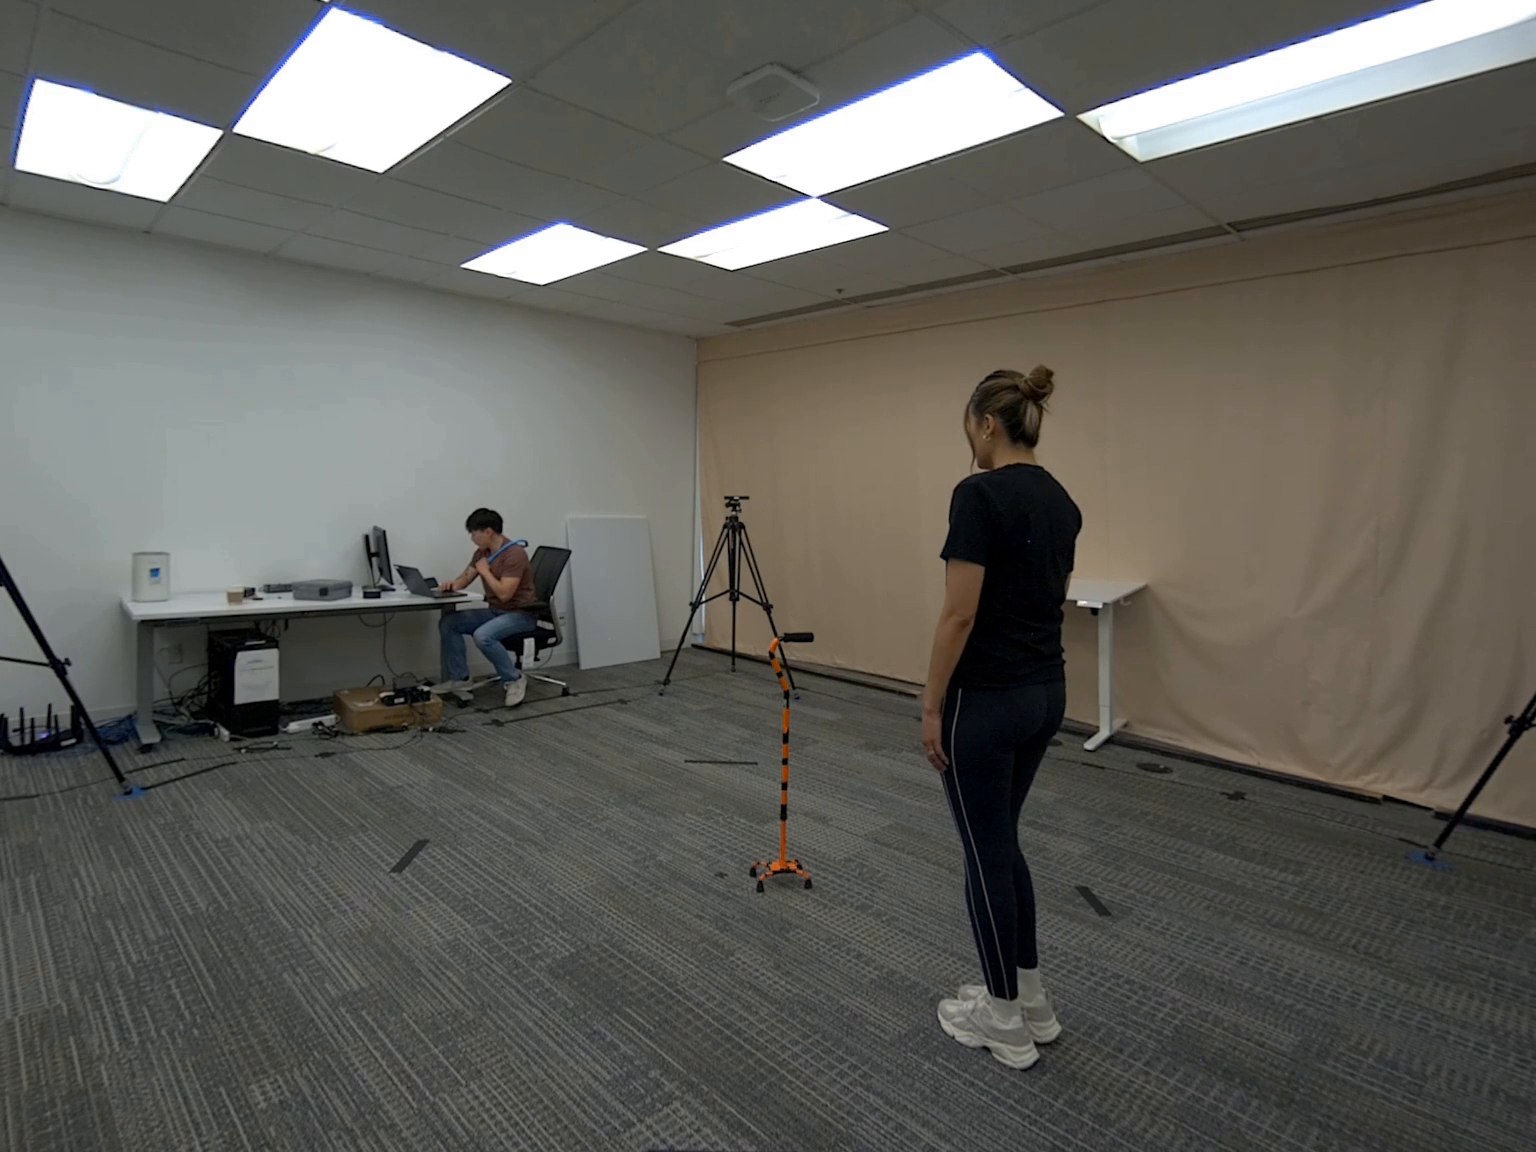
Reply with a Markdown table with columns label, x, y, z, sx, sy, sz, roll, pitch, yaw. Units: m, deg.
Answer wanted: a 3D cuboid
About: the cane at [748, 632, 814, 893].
| label | x | y | z | sx | sy | sz | roll | pitch | yaw |
| --- | --- | --- | --- | --- | --- | --- | --- | --- | --- |
| cane | 0.053 | 0.662 | 3.034 | 0.204 | 0.906 | 0.153 | 1 | 3 | -13 |
